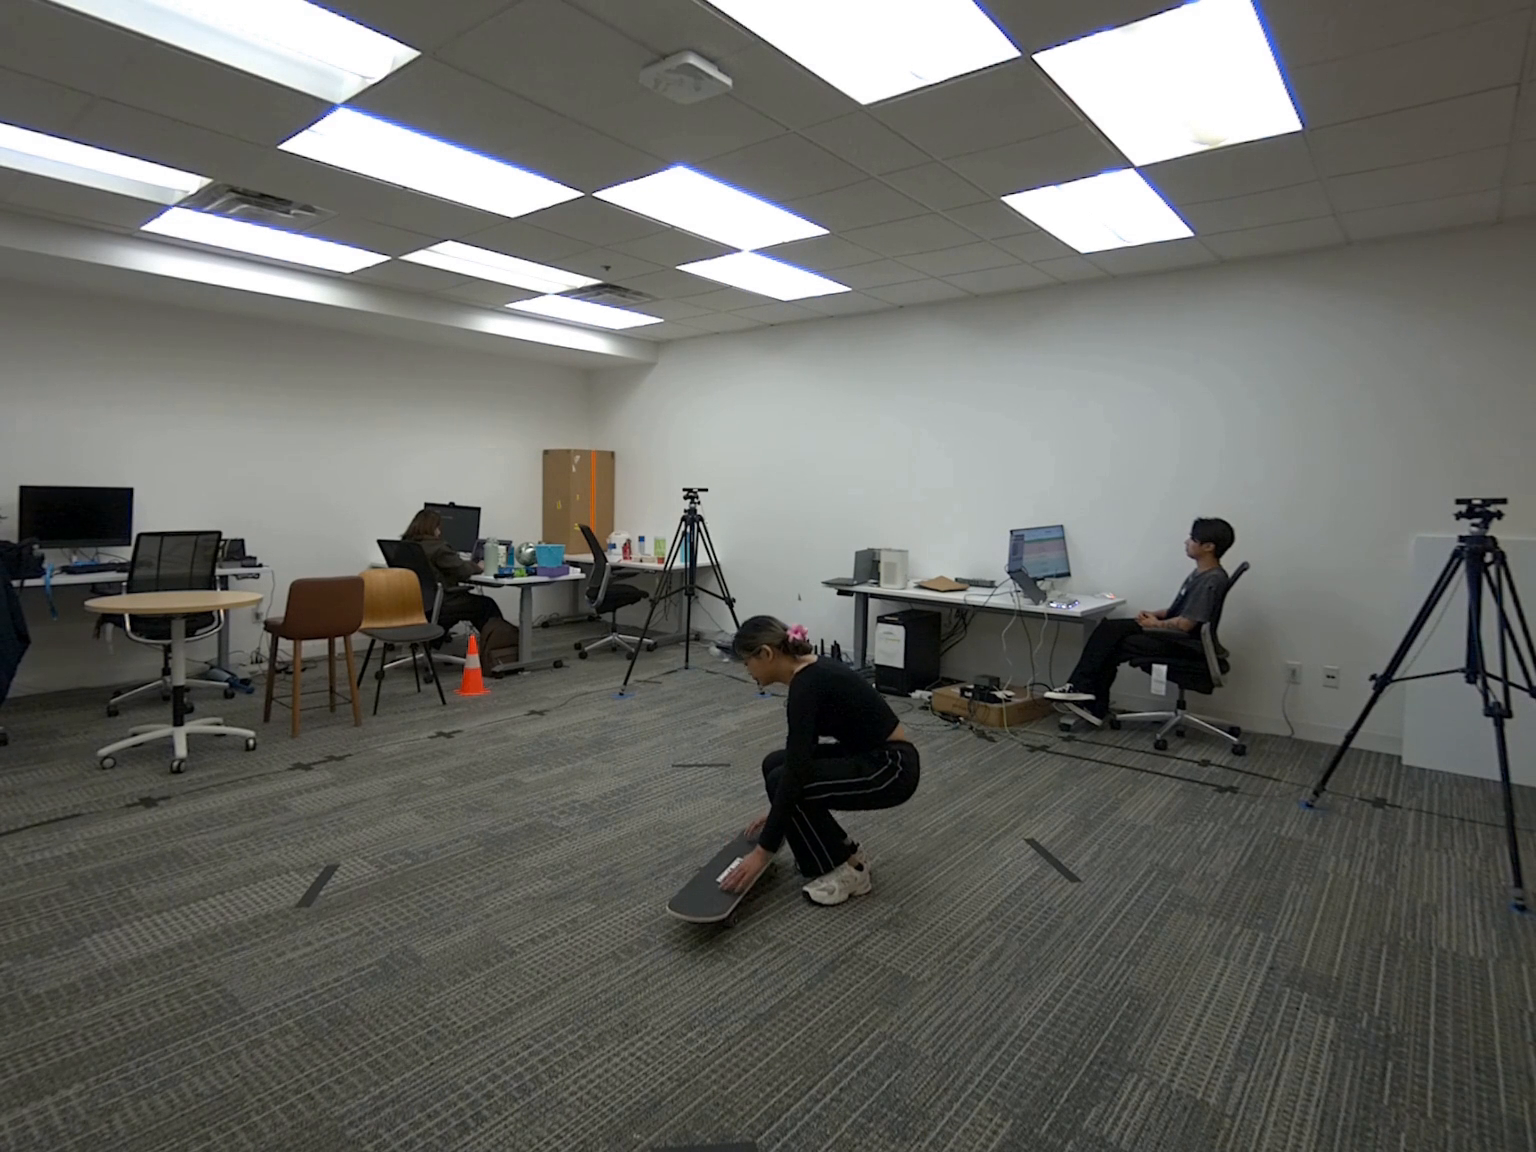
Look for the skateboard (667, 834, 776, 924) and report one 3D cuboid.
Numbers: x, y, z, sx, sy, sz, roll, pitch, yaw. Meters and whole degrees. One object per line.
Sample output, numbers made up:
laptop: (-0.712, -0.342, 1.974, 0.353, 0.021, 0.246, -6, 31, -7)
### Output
skateboard: (-0.126, 1.026, 2.911, 0.198, 0.110, 0.771, 3, 6, 20)
